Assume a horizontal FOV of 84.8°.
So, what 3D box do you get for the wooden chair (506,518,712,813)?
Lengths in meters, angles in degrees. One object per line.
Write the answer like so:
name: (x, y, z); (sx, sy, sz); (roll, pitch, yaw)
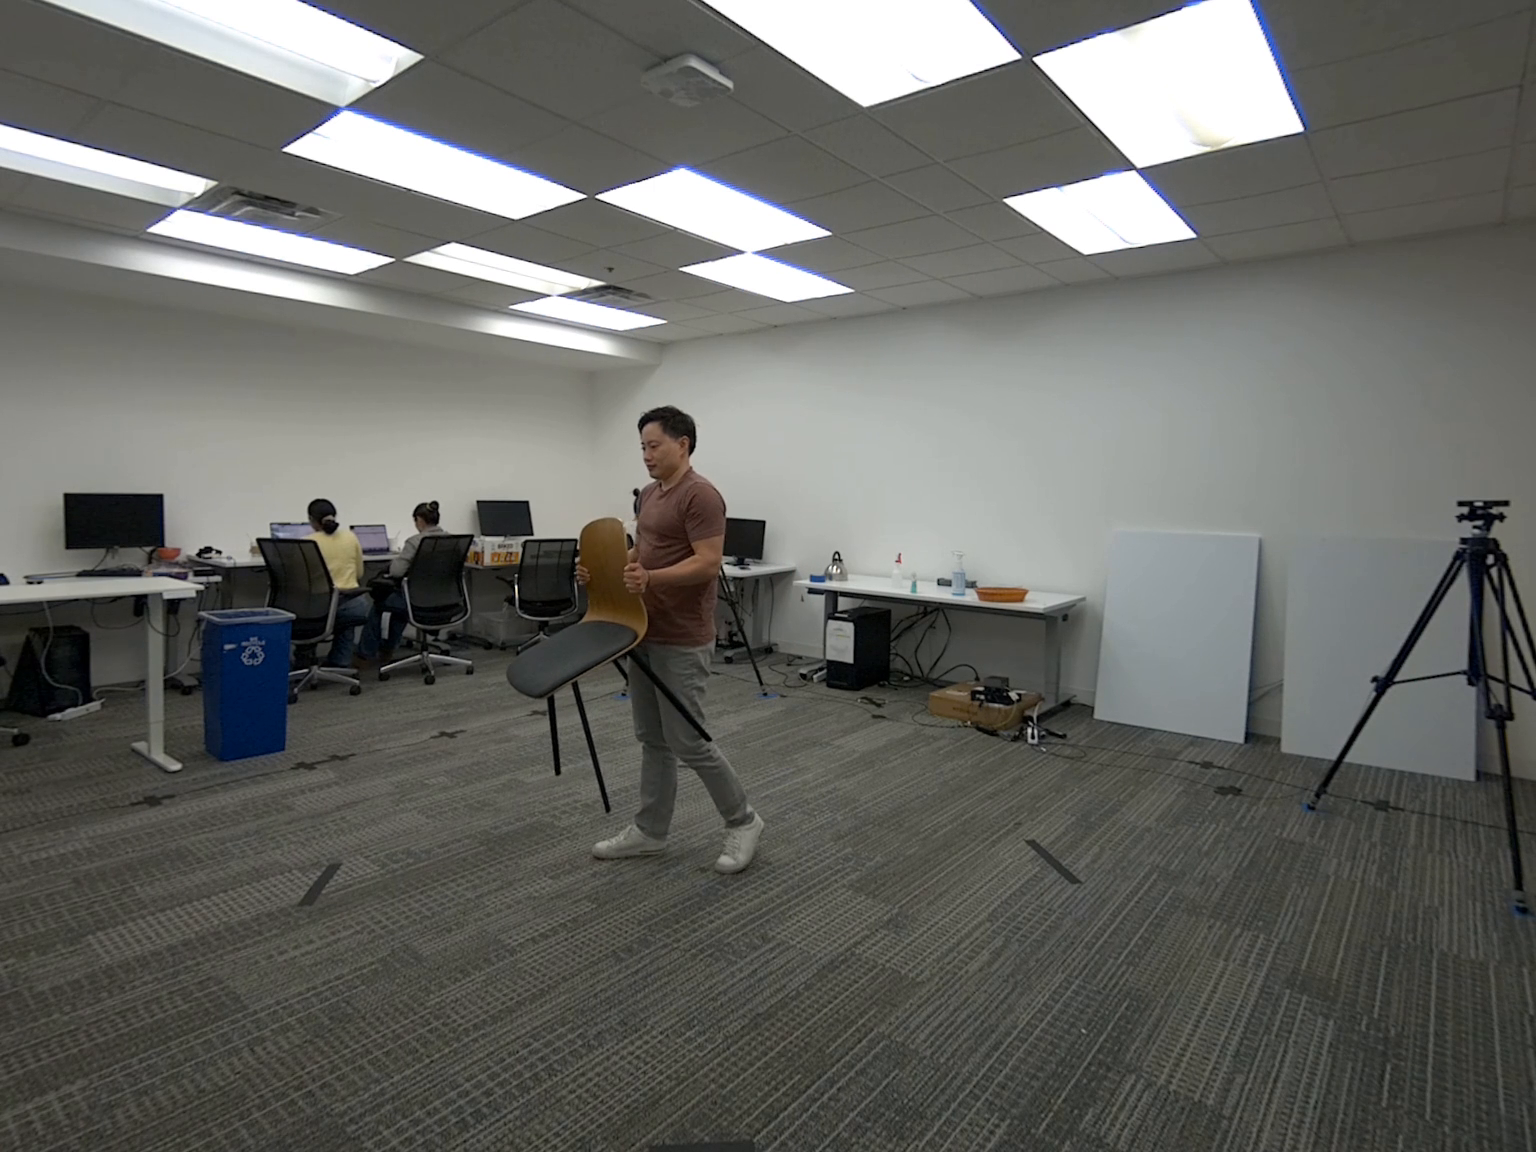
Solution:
wooden chair: (-0.649, 0.293, 2.997); (0.515, 0.863, 0.494); (-24, 17, -32)
